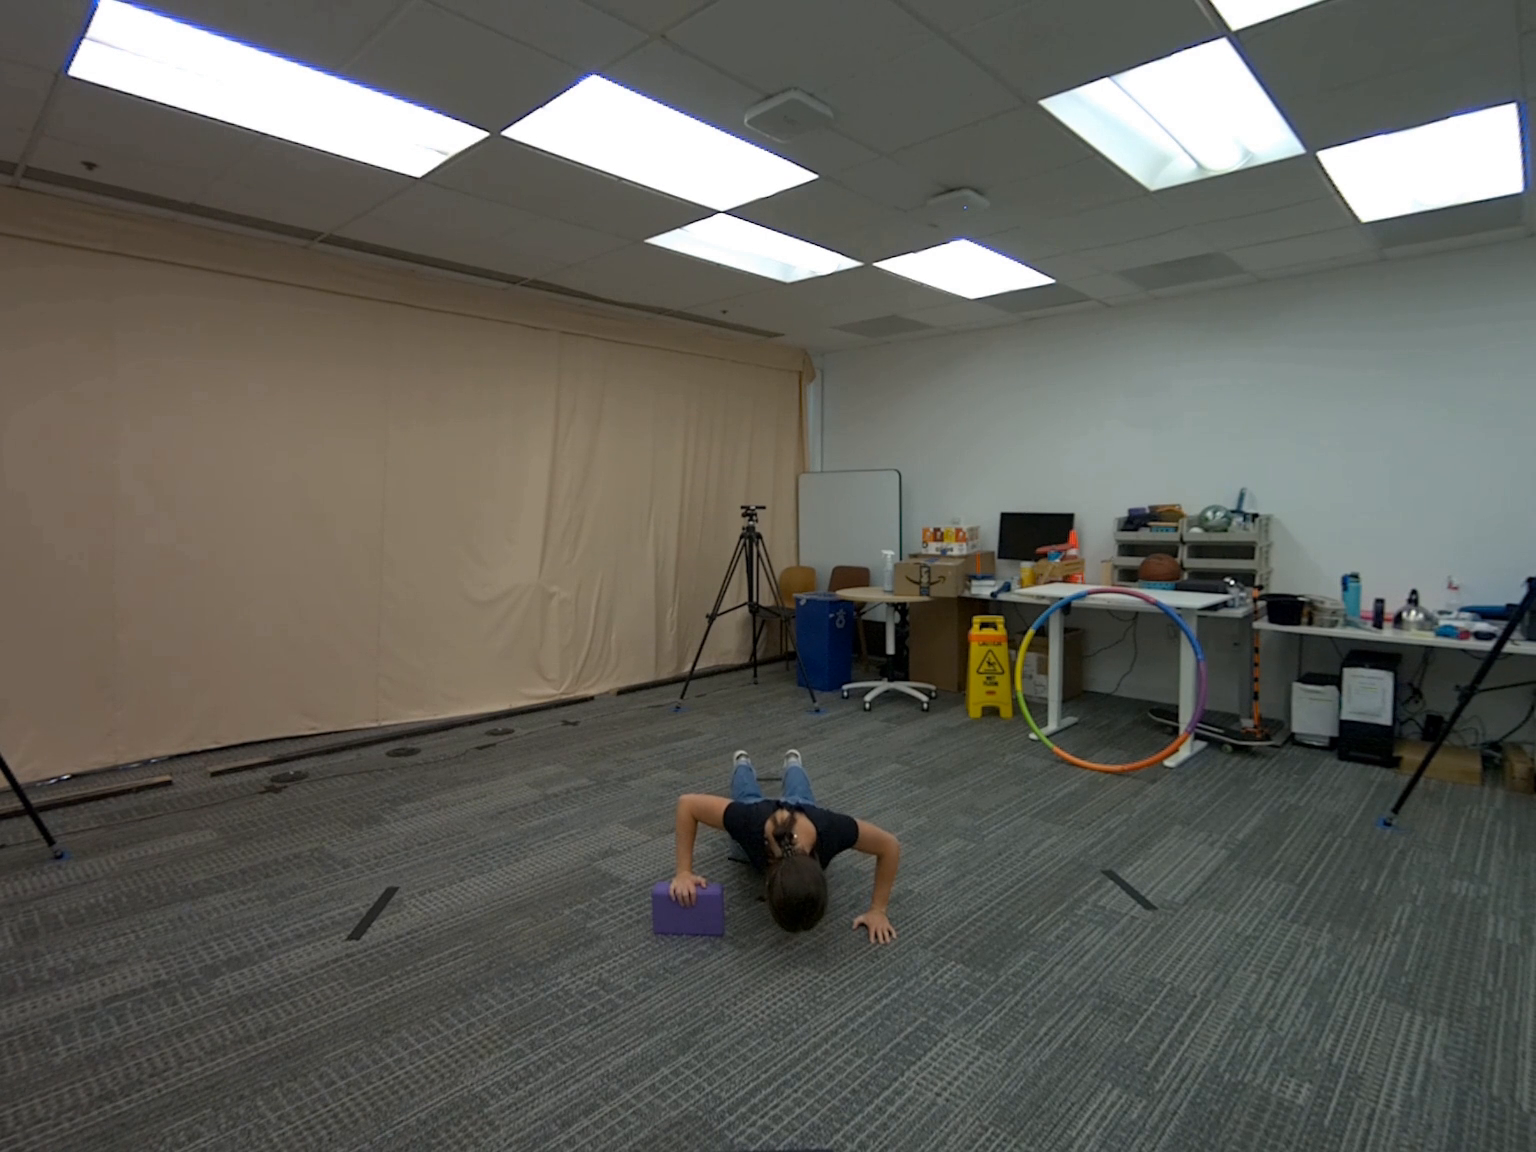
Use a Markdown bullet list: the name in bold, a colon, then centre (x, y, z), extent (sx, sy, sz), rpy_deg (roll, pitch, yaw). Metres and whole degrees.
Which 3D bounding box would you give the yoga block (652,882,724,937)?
- **yoga block**: centre (-0.251, 1.097, 2.764), extent (0.231, 0.149, 0.076), rpy_deg (1, 2, 5)
